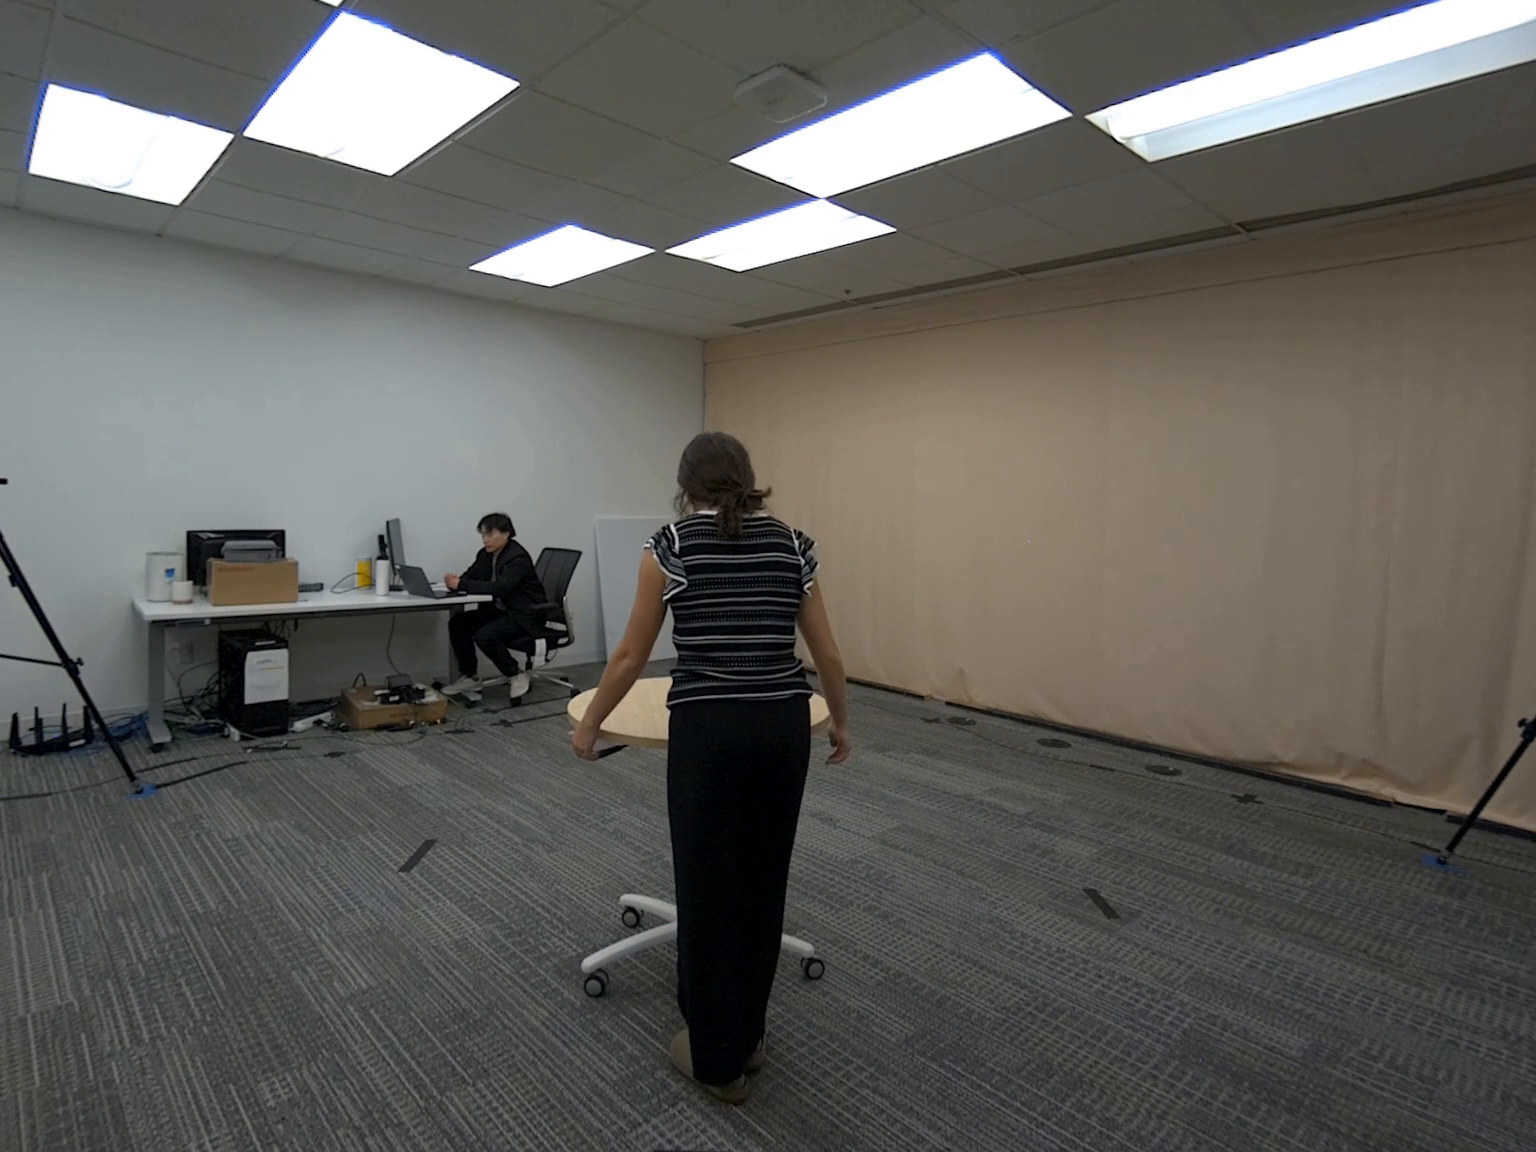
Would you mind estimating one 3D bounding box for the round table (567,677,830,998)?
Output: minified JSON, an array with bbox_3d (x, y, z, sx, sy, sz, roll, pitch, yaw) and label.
[{"bbox_3d":[-0.200,0.774,2.492,0.763,0.792,0.767,1,4,-1],"label":"round table"}]
